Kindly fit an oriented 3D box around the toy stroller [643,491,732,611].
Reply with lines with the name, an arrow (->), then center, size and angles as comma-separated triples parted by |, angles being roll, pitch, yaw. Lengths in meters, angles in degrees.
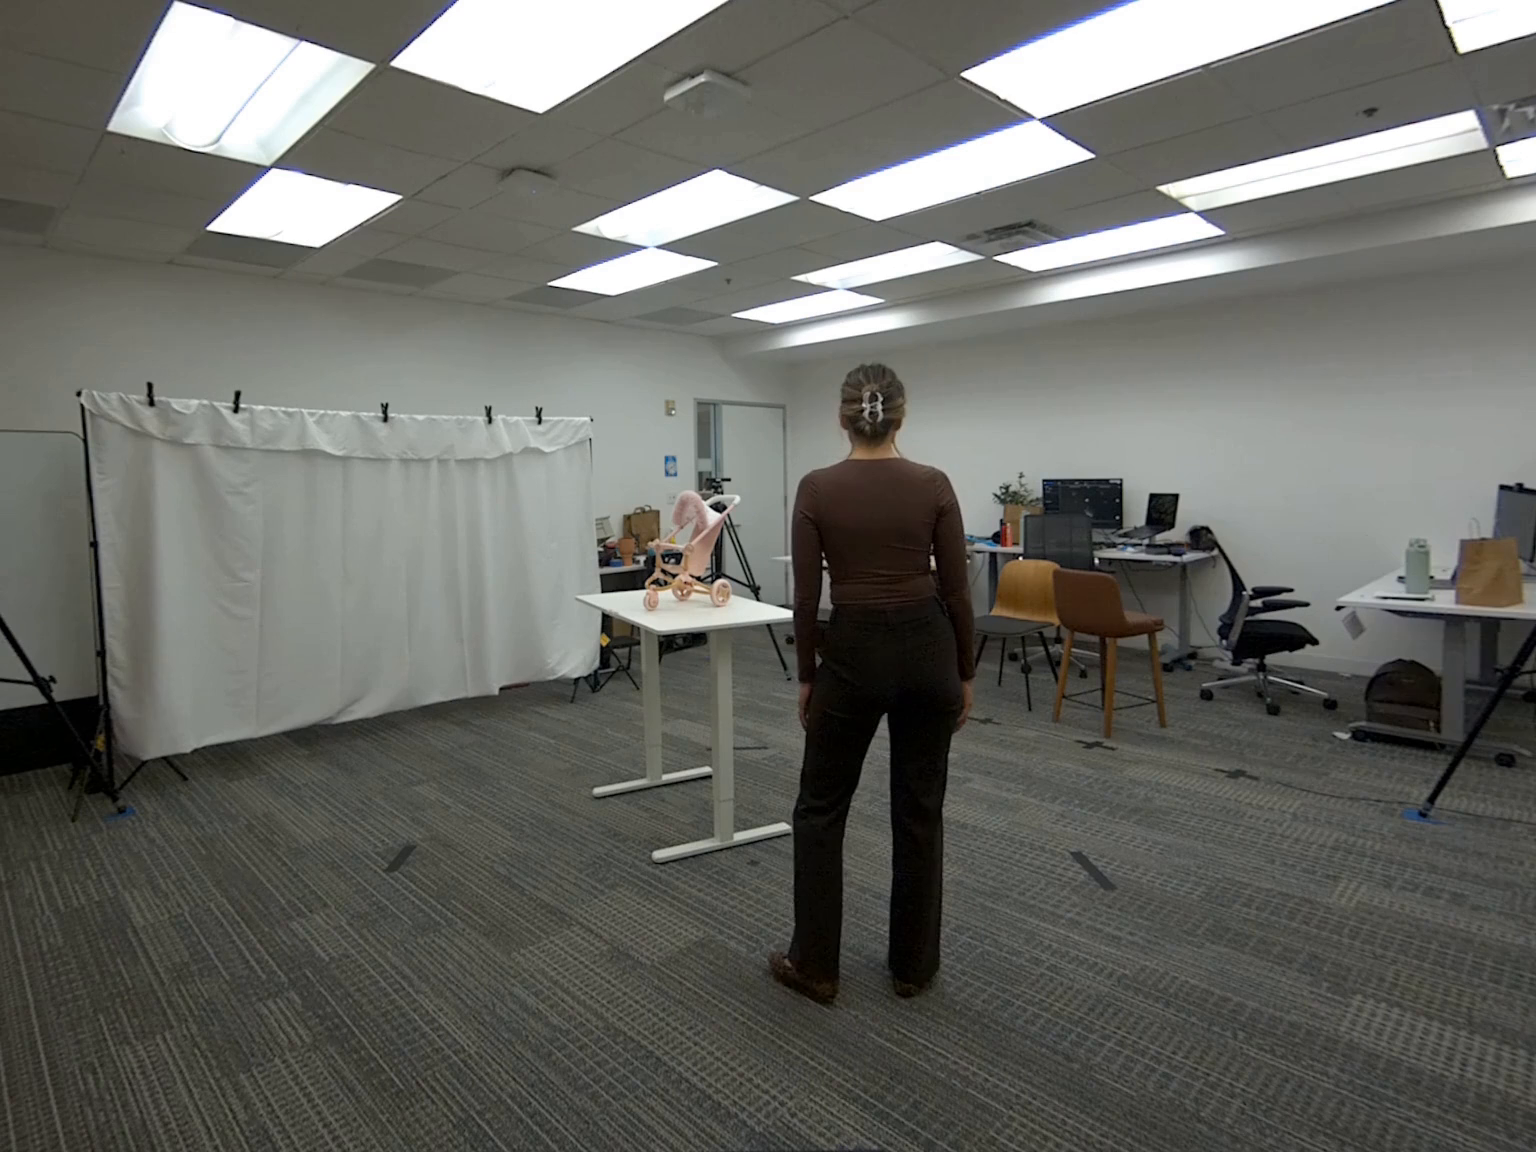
toy stroller -> -0.330, -0.105, 3.491 | 0.330, 0.537, 0.290 | 13, -6, -37
